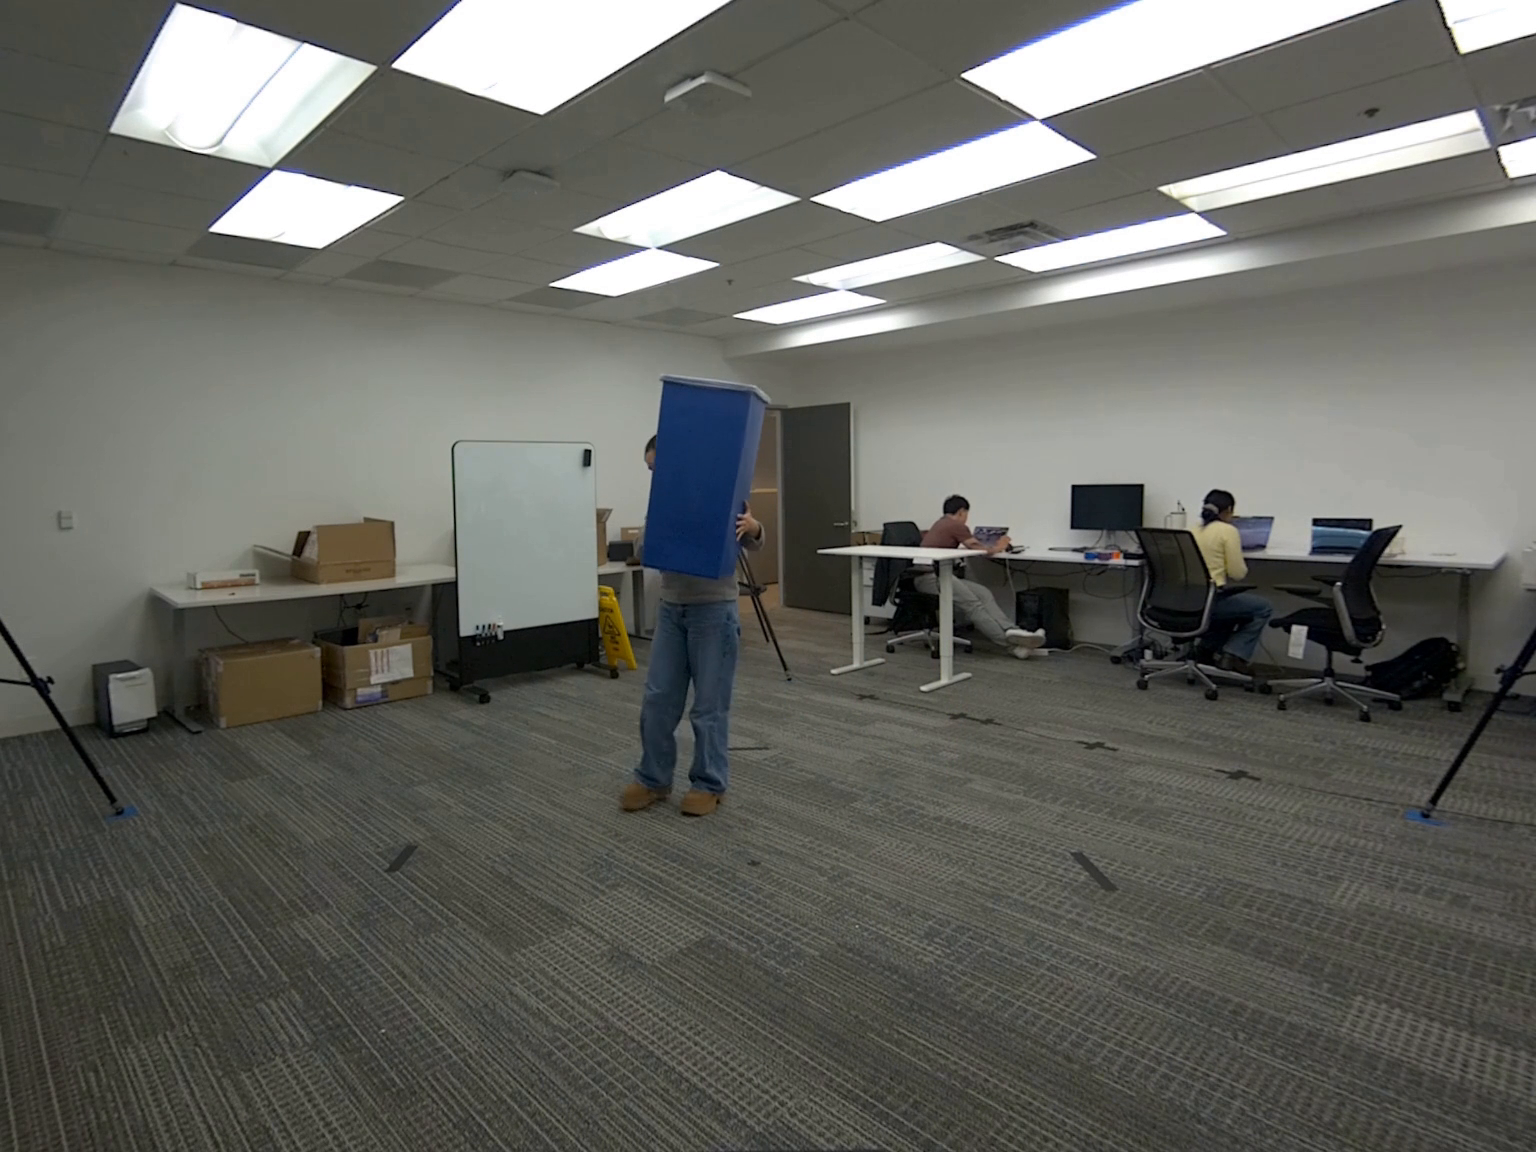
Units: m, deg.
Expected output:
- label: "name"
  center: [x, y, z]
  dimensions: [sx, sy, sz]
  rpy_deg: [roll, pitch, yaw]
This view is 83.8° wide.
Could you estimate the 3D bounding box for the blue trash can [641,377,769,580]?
- label: "blue trash can"
  center: [-0.246, -0.371, 3.259]
  dimensions: [0.383, 0.712, 0.370]
  rpy_deg: [8, 2, 10]
